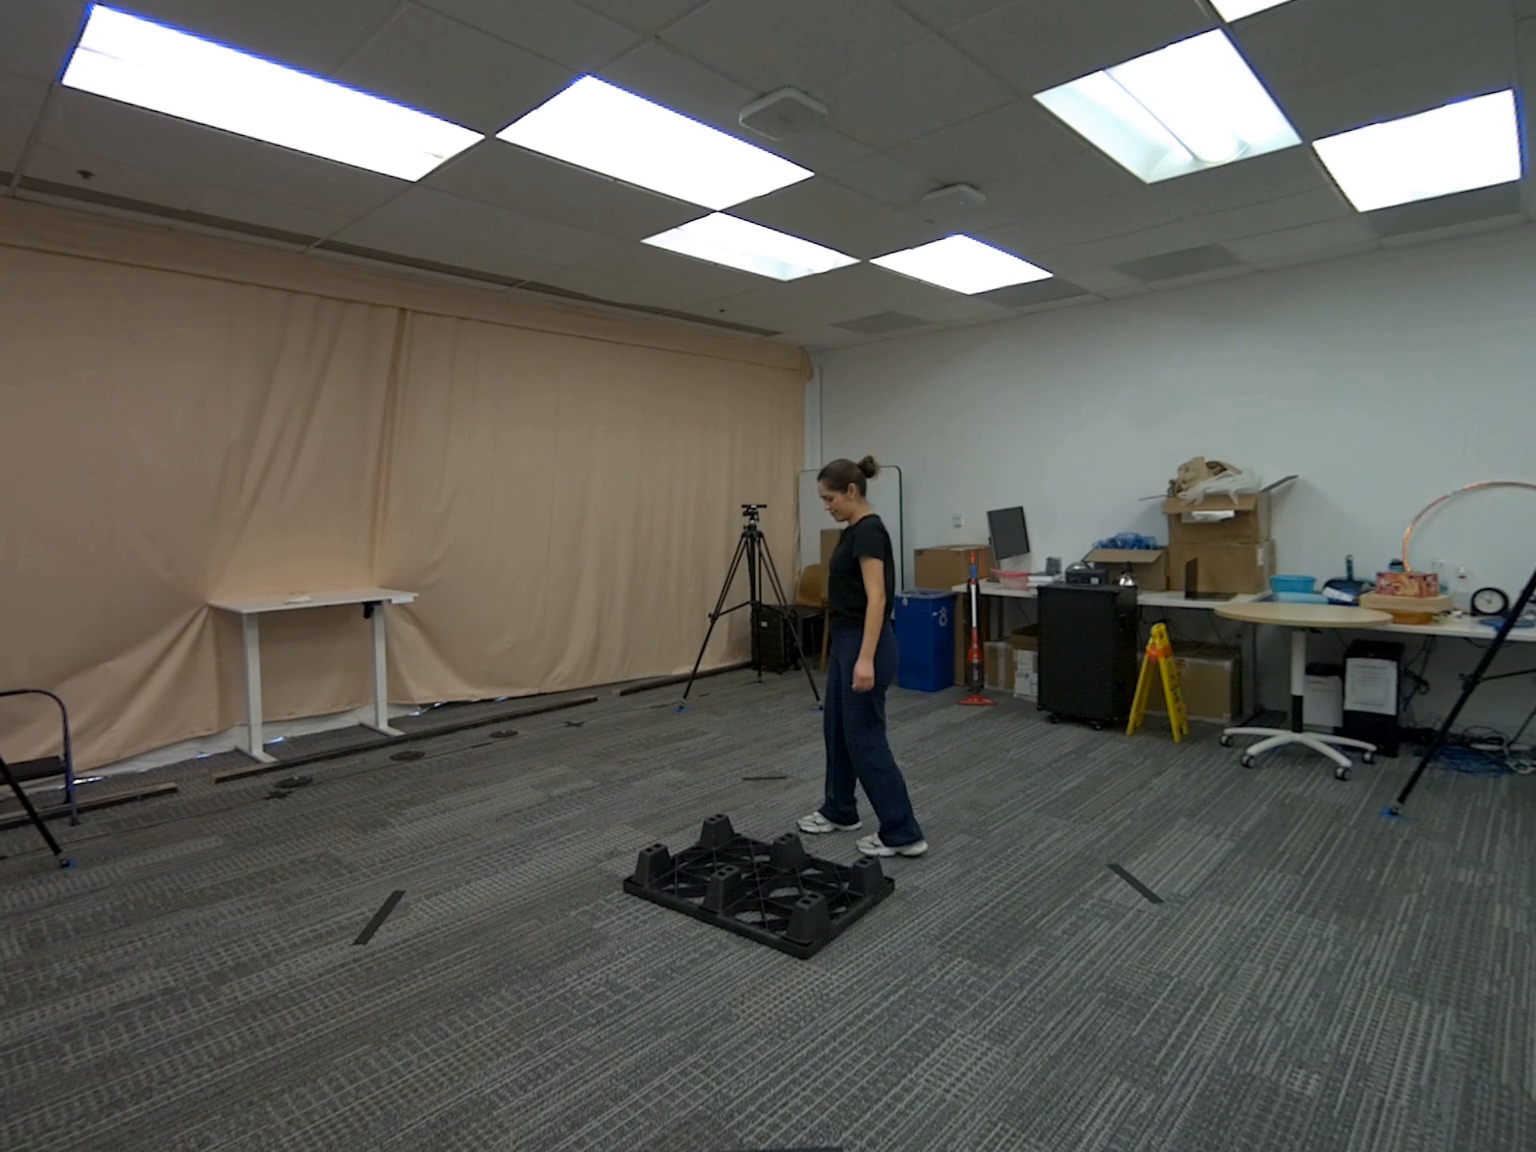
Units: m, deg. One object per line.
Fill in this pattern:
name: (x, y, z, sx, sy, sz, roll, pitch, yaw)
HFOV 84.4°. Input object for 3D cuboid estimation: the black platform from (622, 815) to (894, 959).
black platform: (-0.016, 1.070, 3.037, 0.831, 0.143, 0.588, 3, 6, 37)
